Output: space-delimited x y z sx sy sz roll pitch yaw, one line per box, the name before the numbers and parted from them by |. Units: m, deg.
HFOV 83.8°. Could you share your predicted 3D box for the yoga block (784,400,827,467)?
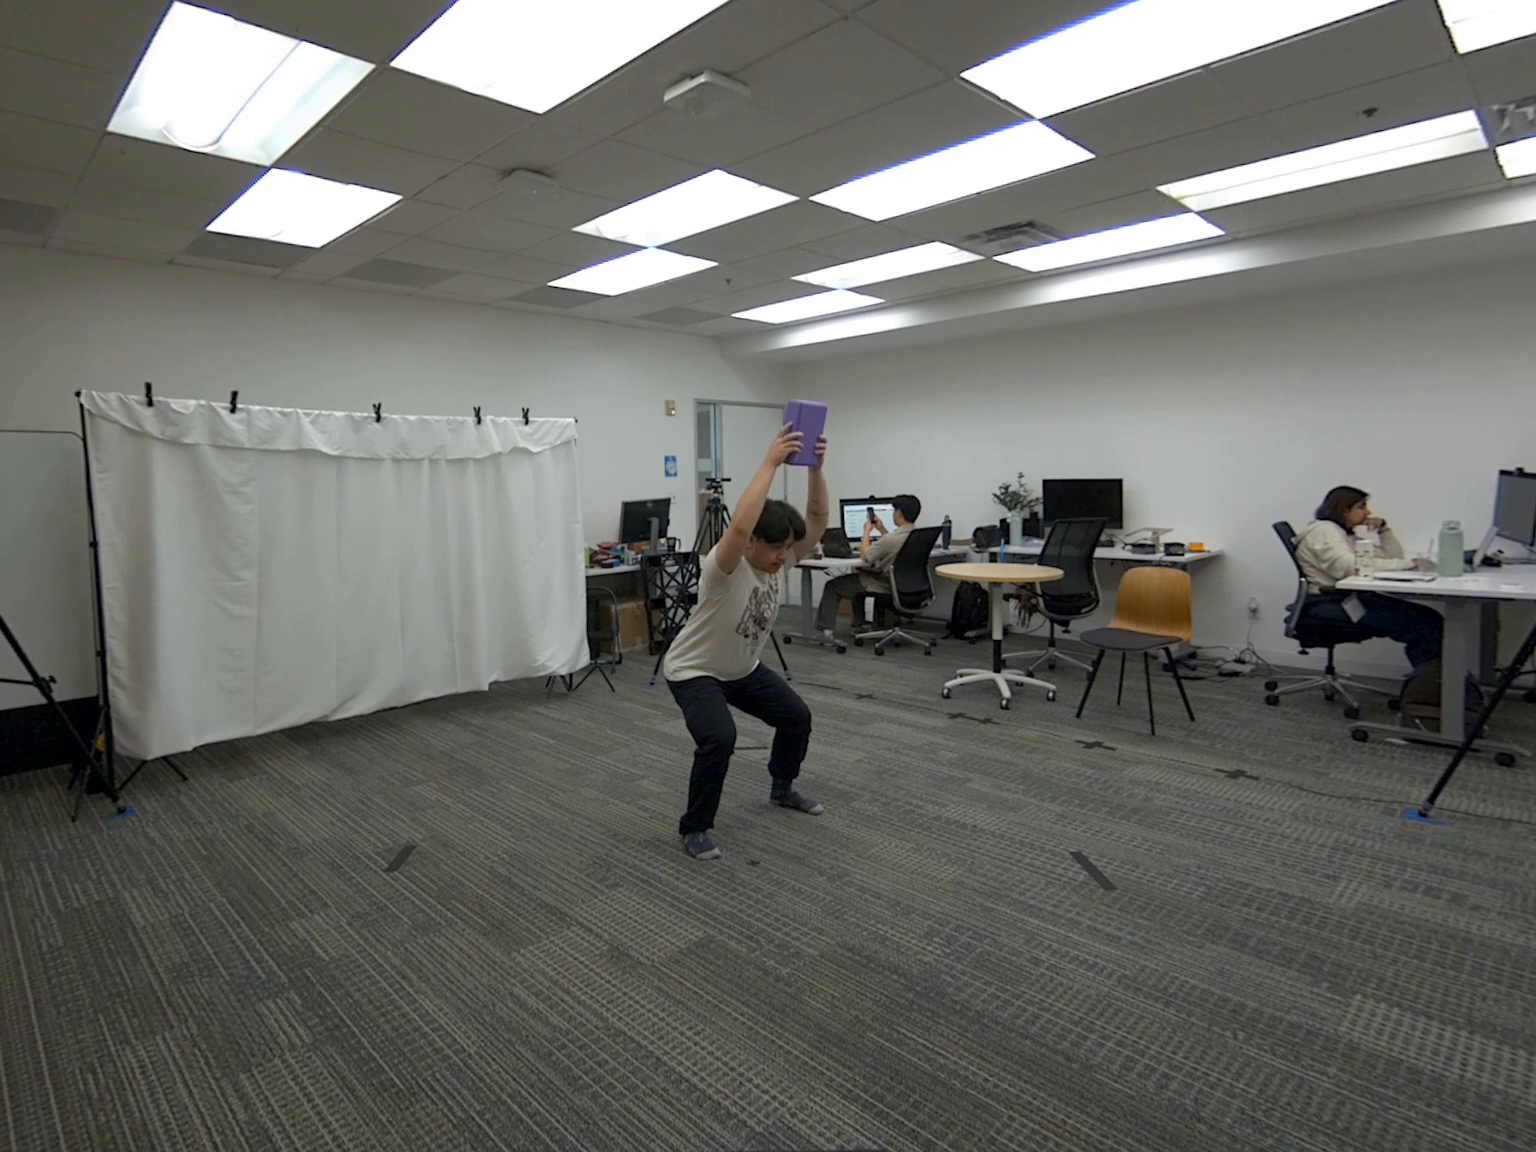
yoga block | 0.139 -0.516 3.101 0.145 0.227 0.079 -3 19 -43
